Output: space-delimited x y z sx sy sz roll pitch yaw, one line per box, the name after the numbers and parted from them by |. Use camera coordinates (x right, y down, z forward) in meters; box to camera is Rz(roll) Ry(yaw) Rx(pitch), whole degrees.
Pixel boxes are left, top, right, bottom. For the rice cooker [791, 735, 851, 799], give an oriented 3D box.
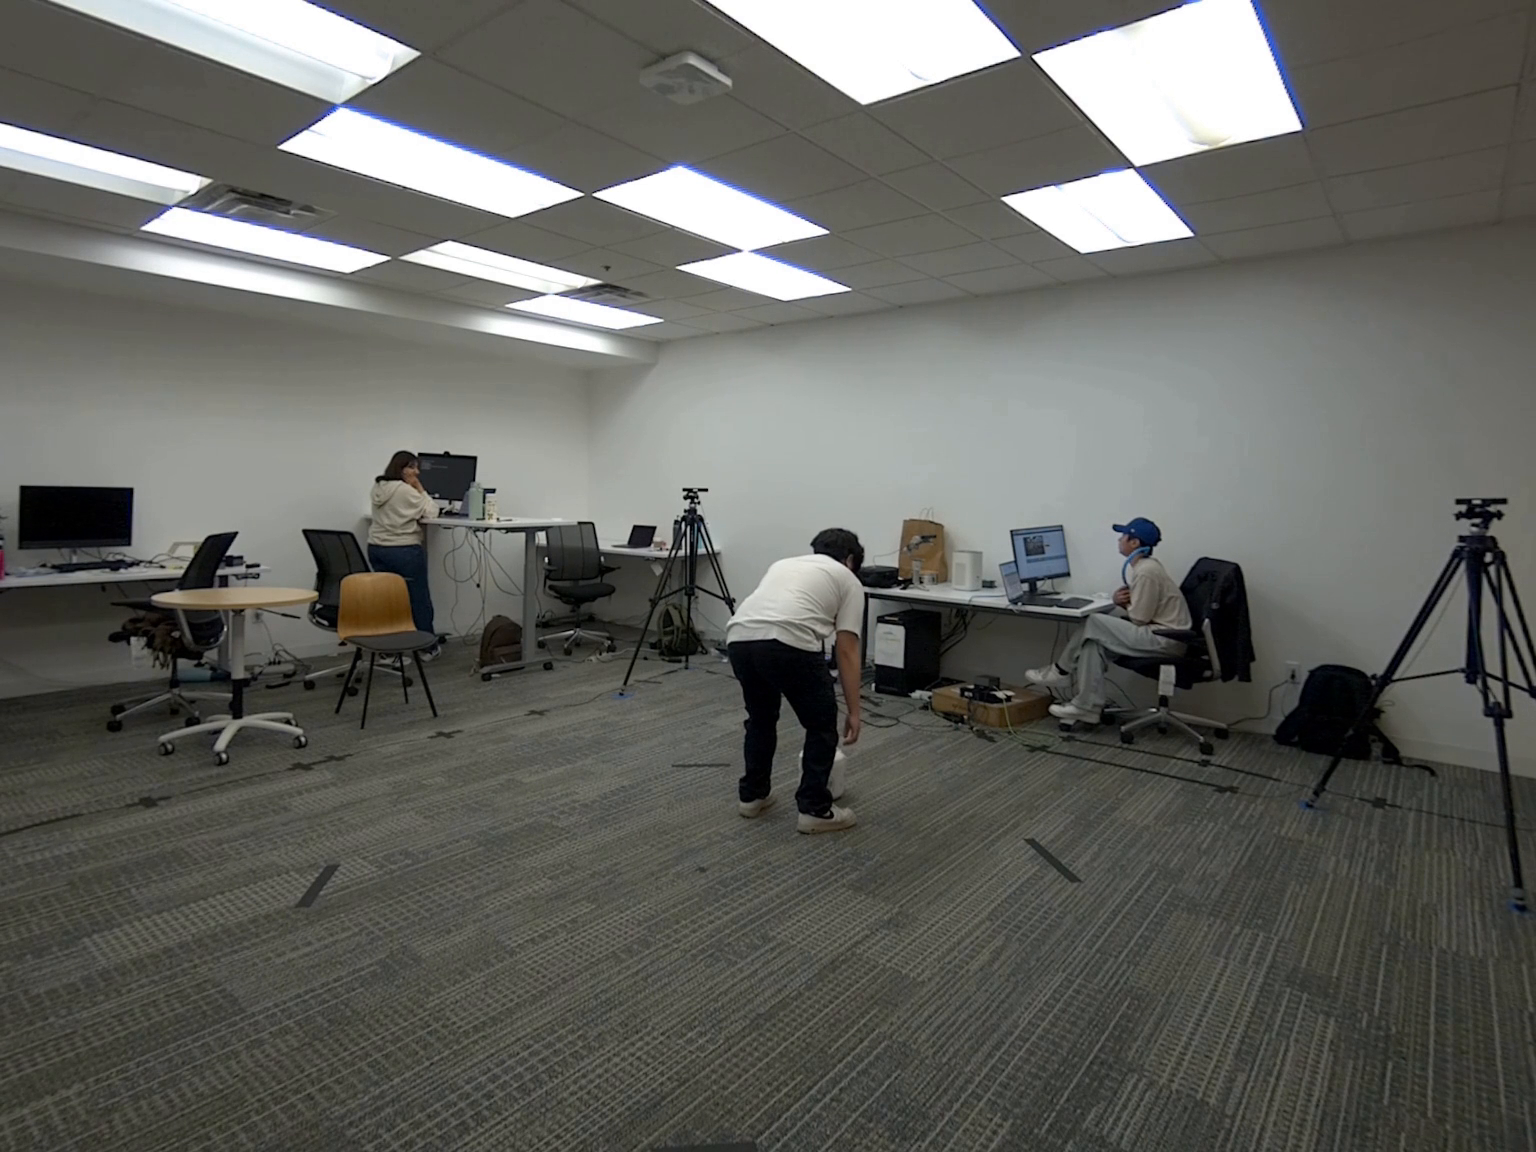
0.240 0.880 3.899 0.219 0.232 0.220 0 3 -9 | rice cooker
